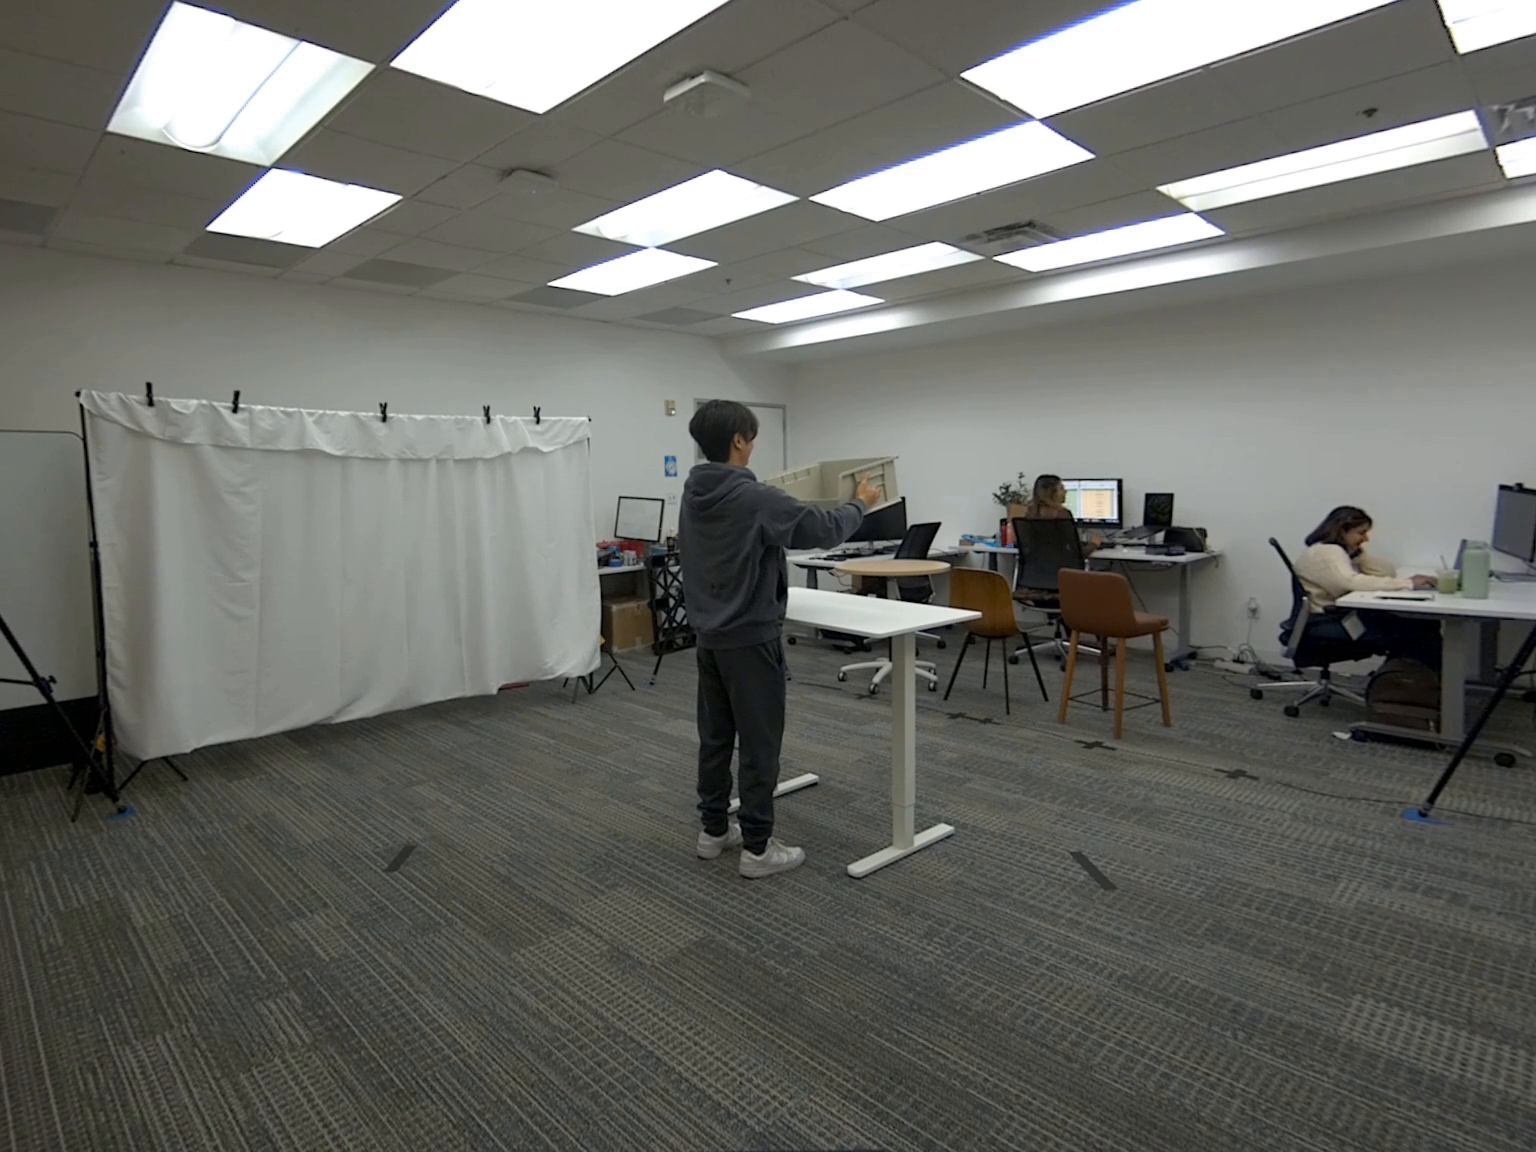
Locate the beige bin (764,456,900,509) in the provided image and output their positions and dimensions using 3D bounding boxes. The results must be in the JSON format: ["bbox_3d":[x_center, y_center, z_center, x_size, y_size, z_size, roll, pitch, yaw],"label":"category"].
[{"bbox_3d":[0.250,-0.339,3.392,0.370,0.187,0.435,-21,15,-39],"label":"beige bin"}]
